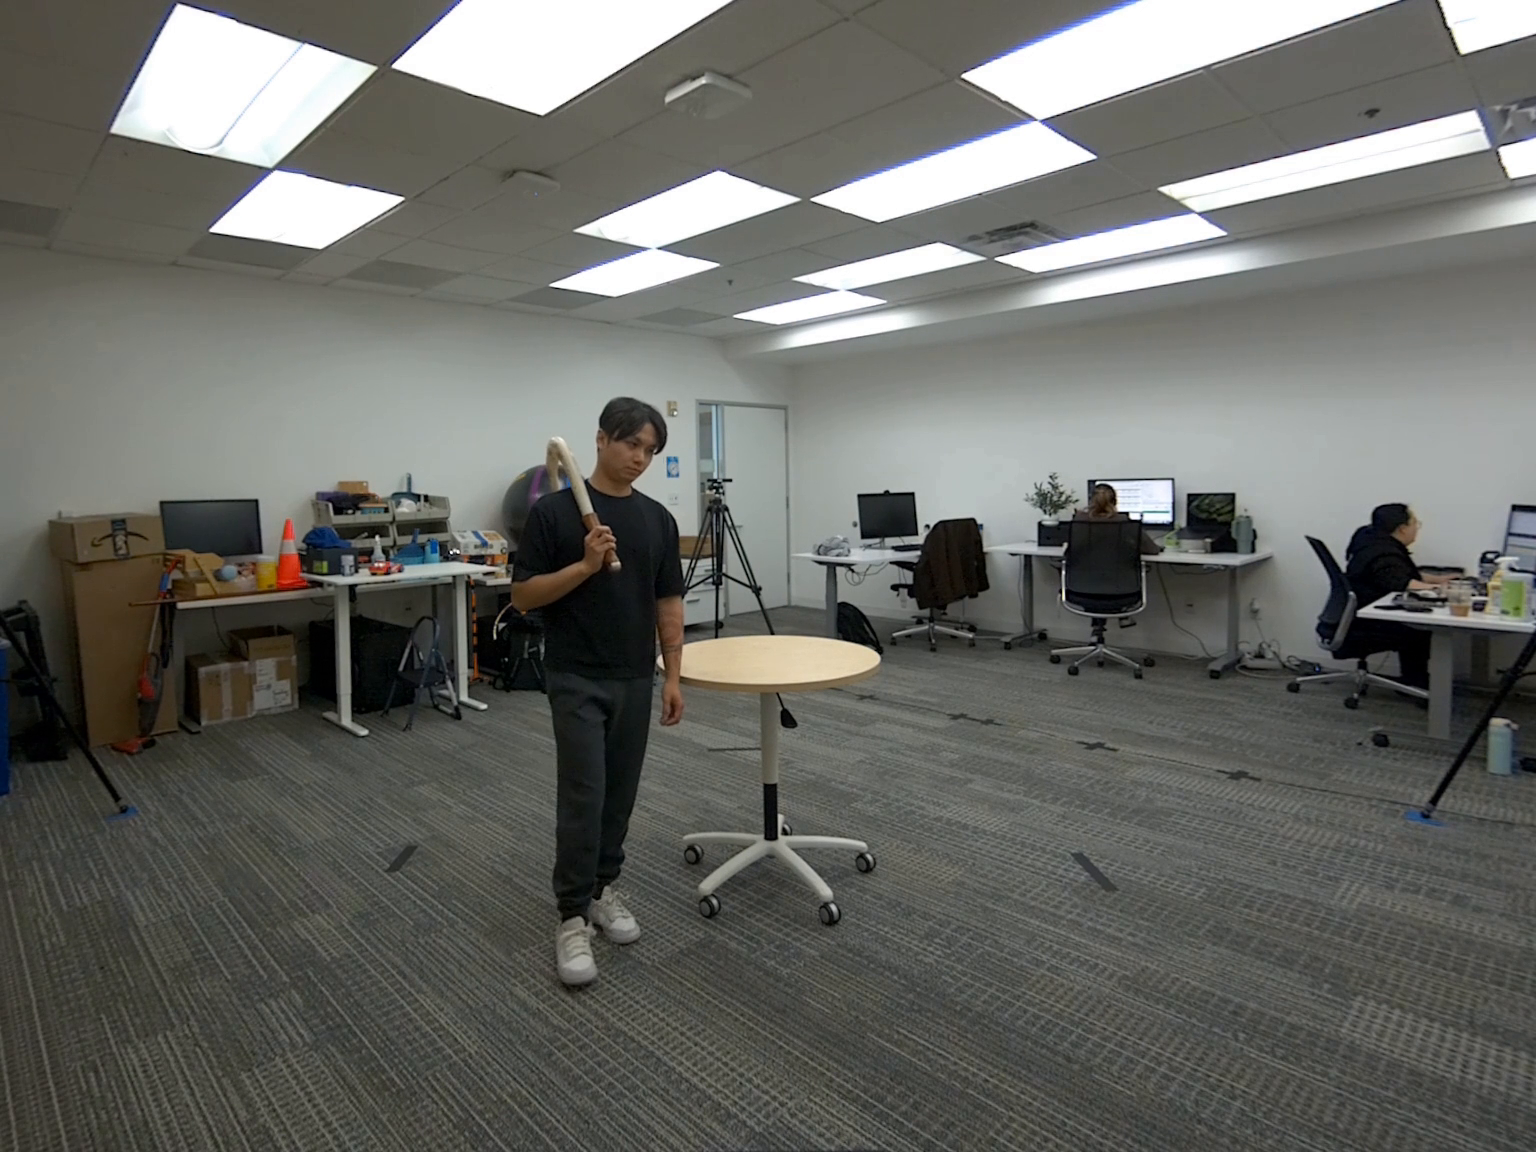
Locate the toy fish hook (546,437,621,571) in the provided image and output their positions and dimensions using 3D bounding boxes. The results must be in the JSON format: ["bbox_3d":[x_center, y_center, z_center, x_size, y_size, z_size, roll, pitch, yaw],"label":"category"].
[{"bbox_3d":[-0.567,-0.194,2.560,0.047,0.521,0.222,-15,-27,-26],"label":"toy fish hook"}]
